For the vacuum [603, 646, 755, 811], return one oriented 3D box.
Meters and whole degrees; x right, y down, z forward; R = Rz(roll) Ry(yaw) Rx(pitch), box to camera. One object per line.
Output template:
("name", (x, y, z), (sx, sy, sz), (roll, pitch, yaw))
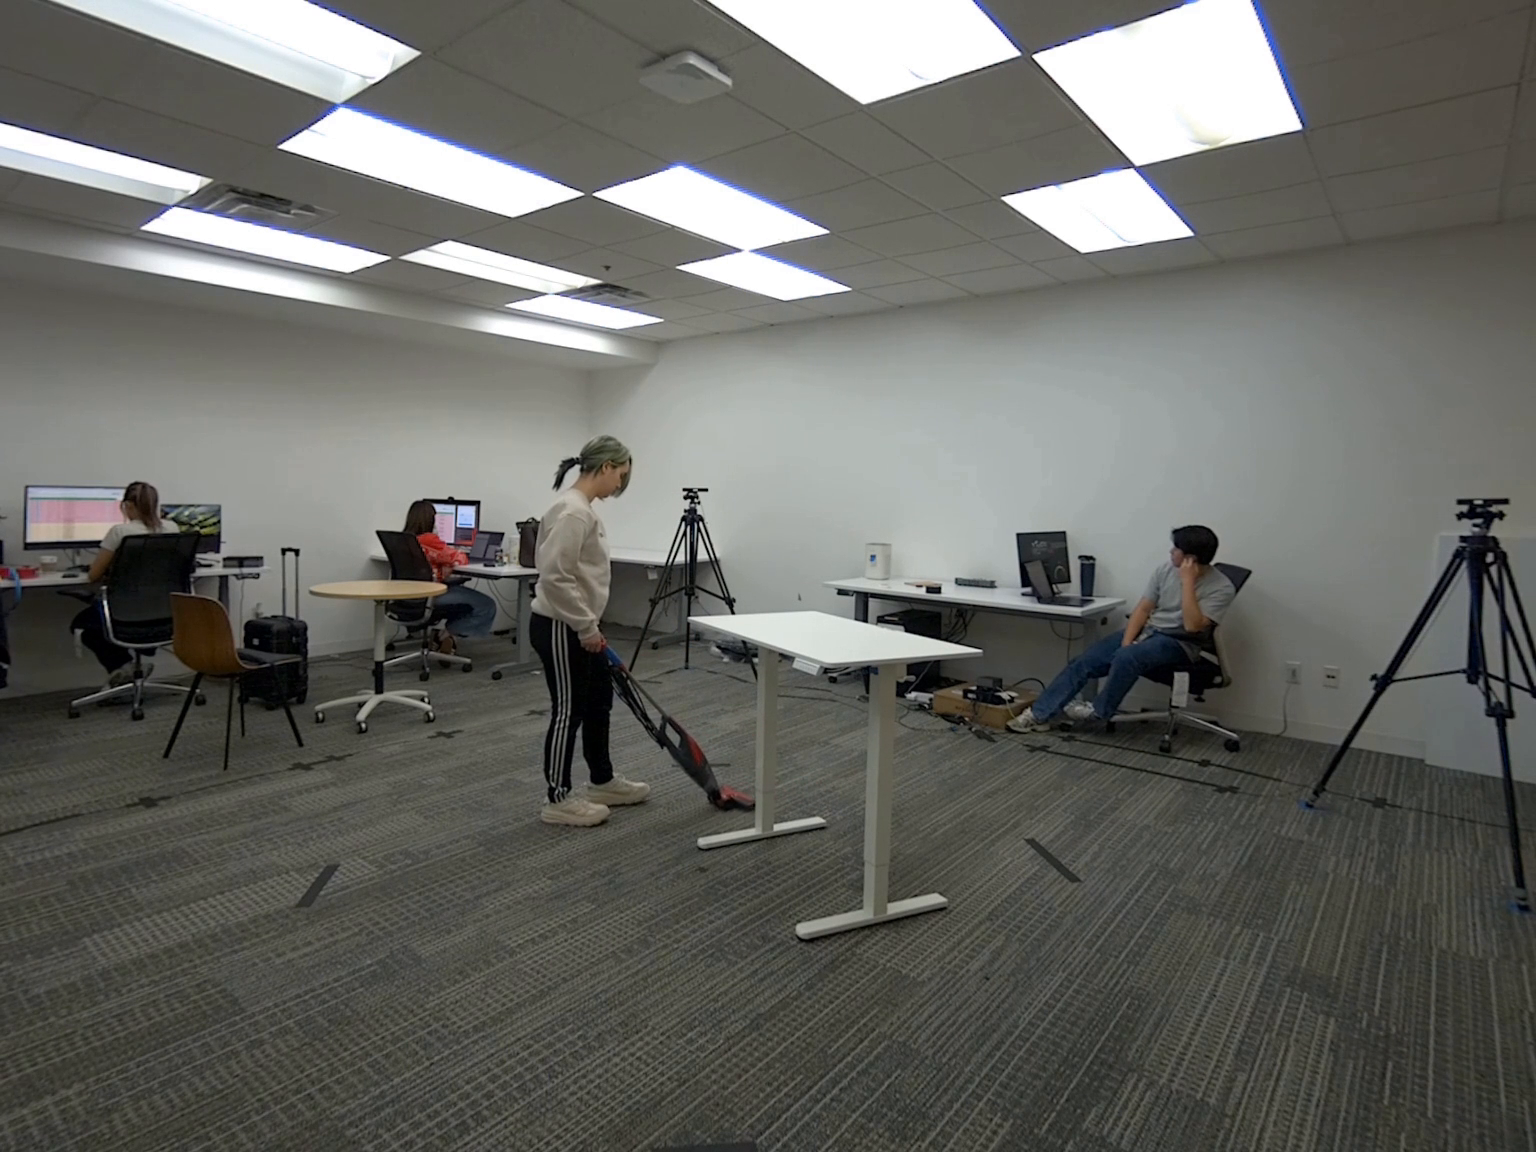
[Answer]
("vacuum", (-0.464, 0.641, 3.578), (0.144, 1.019, 0.260), (-50, 24, -22))
